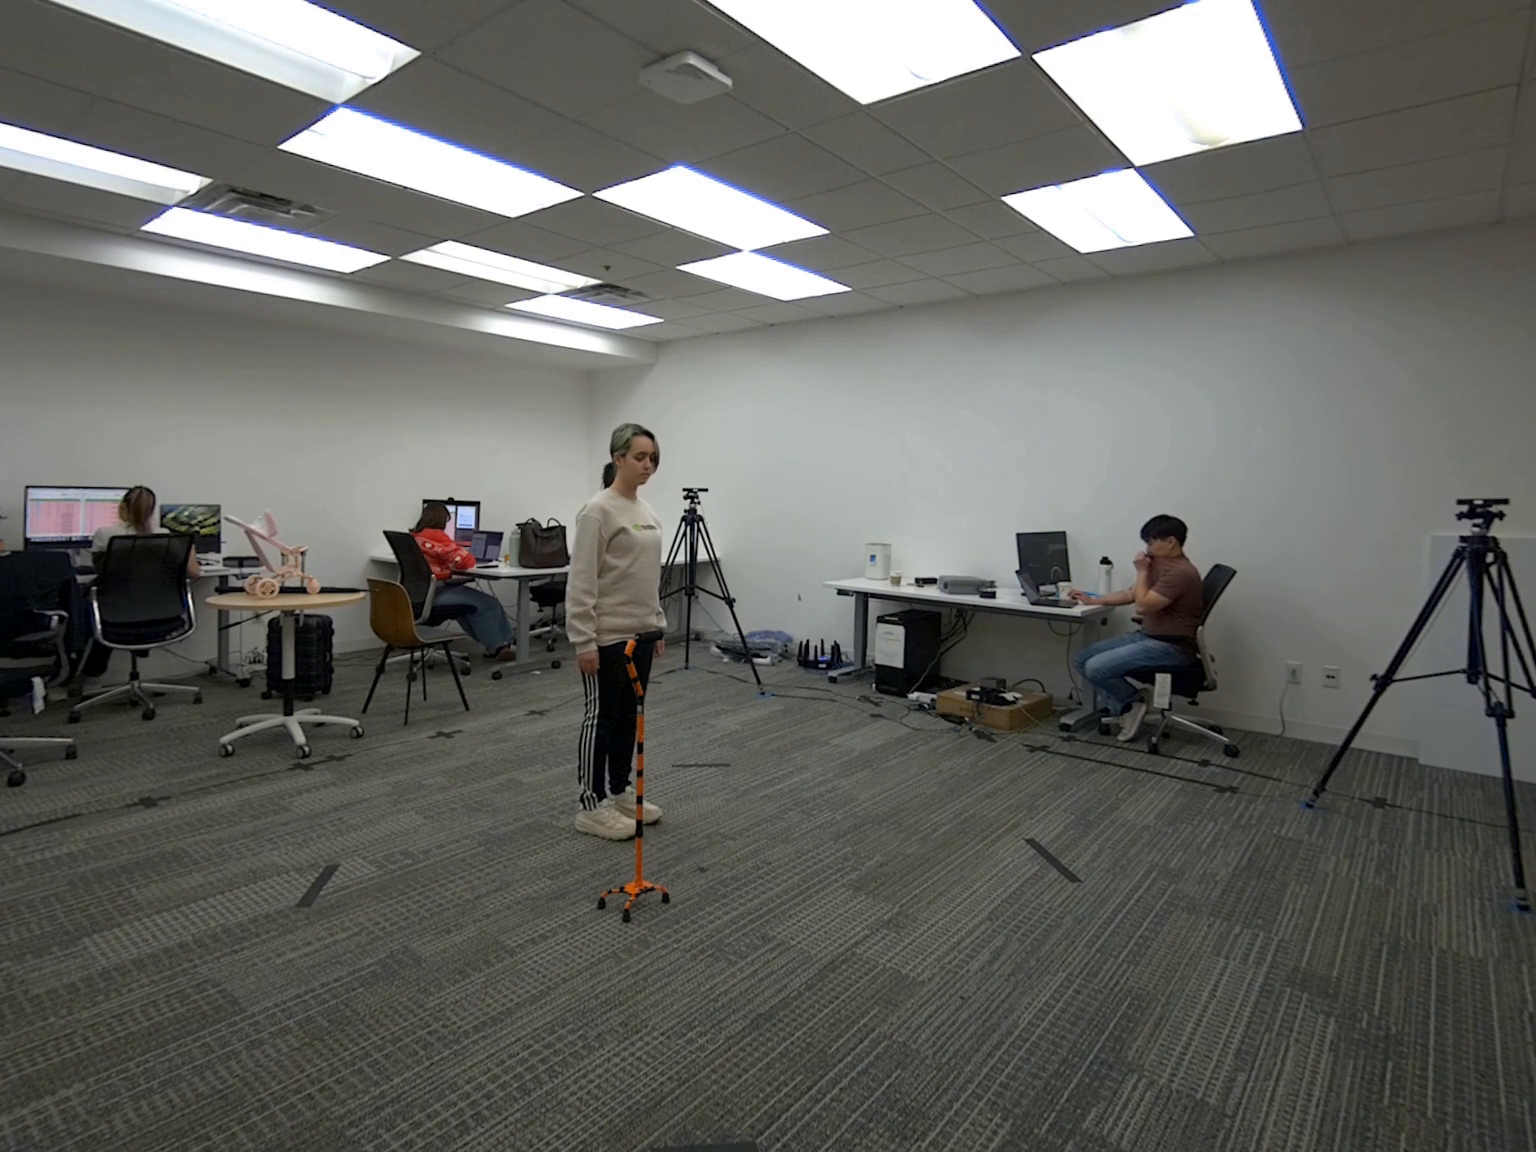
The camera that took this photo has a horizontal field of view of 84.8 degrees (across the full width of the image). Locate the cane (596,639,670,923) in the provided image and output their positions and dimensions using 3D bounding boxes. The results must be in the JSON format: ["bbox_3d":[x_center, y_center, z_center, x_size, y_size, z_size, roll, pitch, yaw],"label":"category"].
[{"bbox_3d":[-0.437,0.640,2.813,0.157,0.906,0.200,5,4,41],"label":"cane"}]
